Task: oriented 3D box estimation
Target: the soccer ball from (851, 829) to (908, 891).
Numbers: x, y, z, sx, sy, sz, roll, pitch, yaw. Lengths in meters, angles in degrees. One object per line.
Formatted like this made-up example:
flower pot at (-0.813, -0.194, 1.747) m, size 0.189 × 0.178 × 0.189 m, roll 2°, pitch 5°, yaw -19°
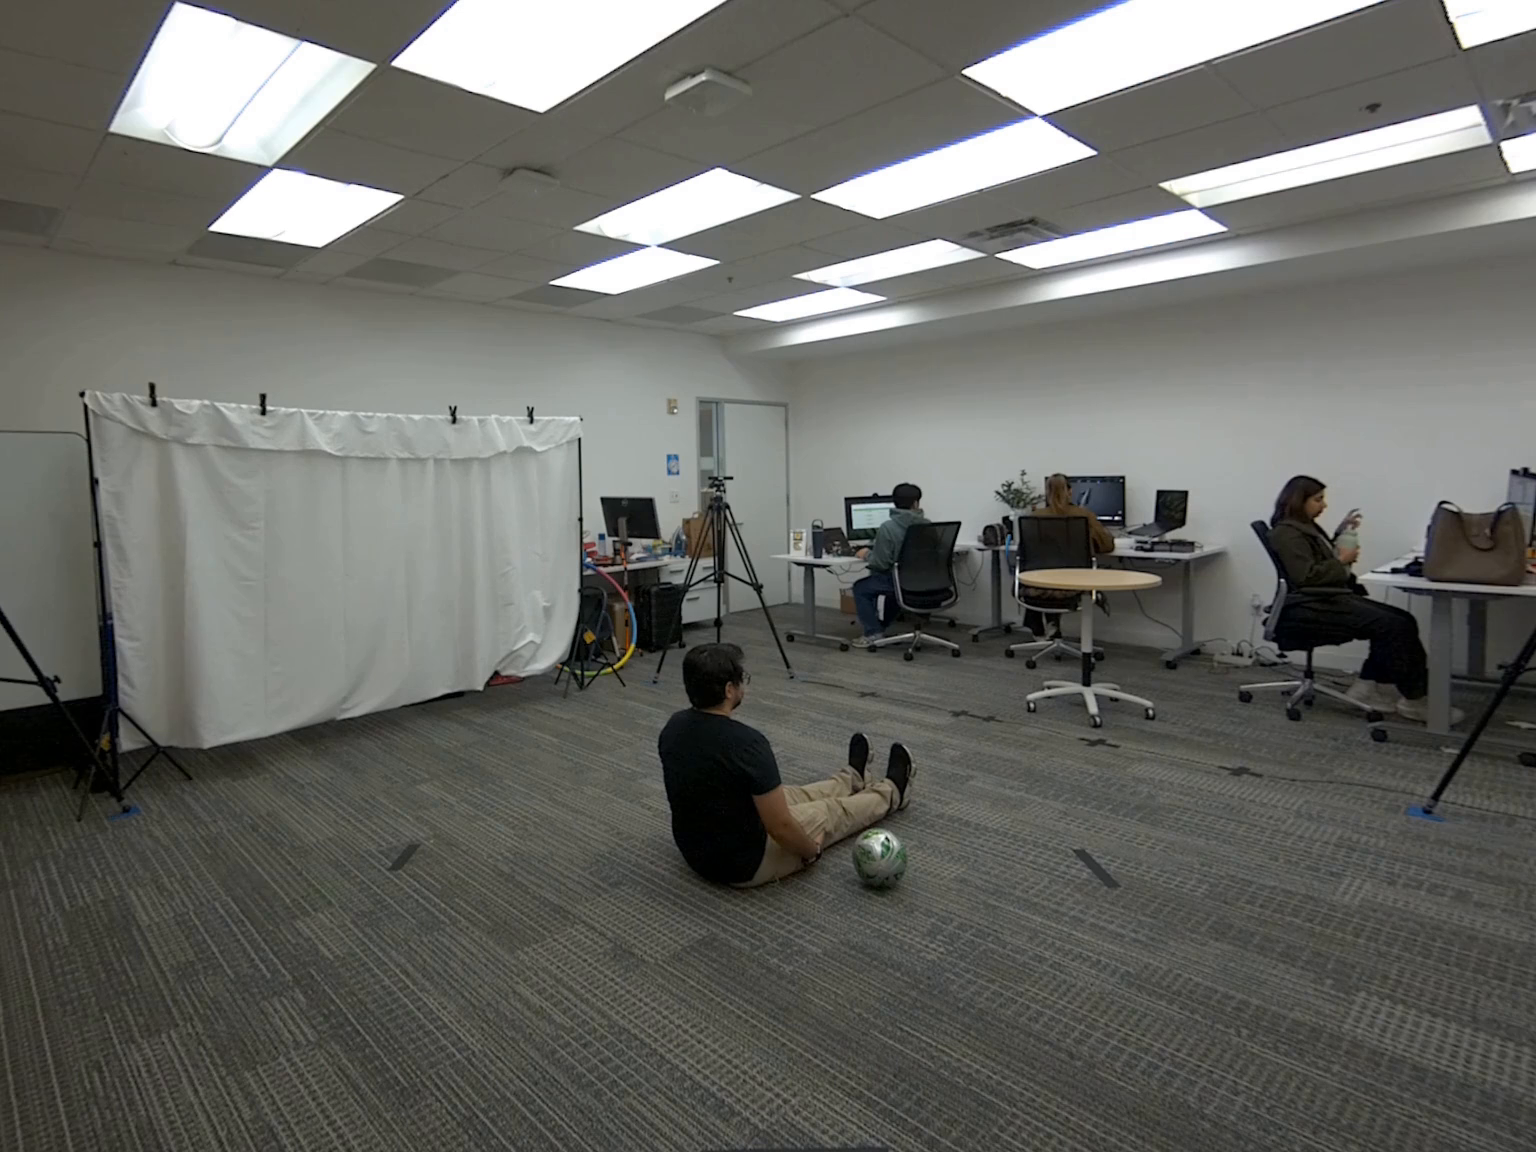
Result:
soccer ball at (0.376, 0.950, 2.912) m, size 0.187 × 0.187 × 0.188 m, roll -1°, pitch 4°, yaw -2°
